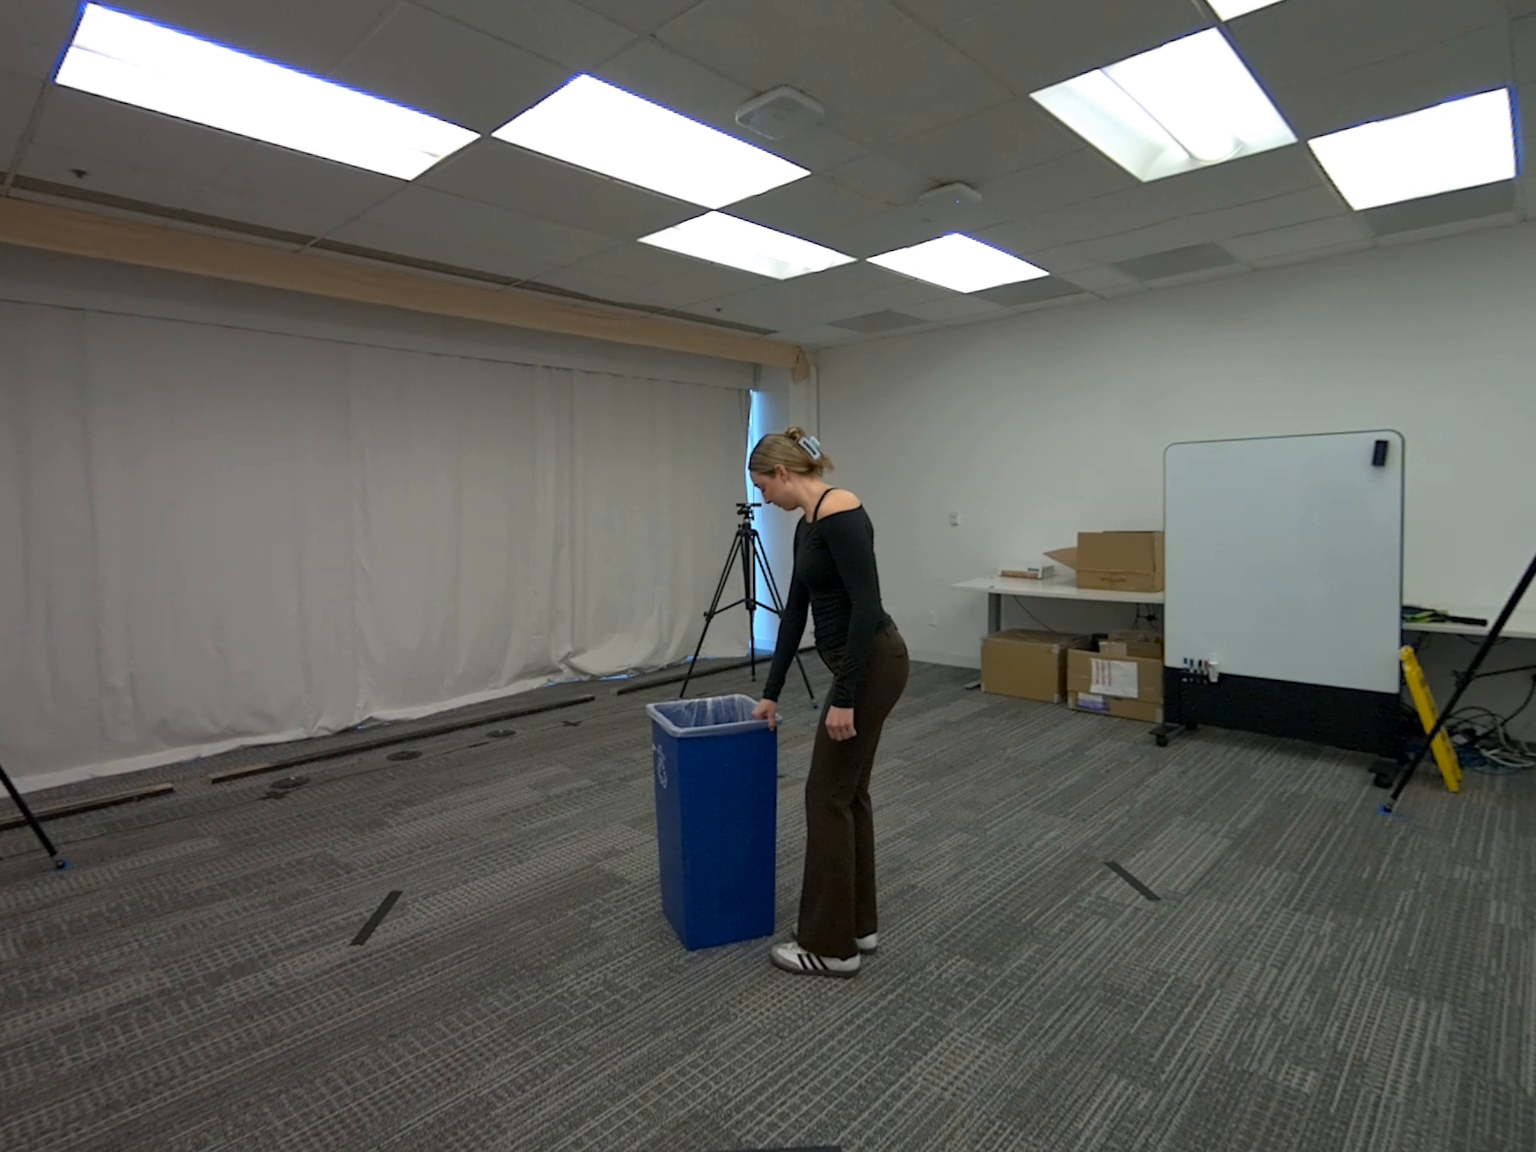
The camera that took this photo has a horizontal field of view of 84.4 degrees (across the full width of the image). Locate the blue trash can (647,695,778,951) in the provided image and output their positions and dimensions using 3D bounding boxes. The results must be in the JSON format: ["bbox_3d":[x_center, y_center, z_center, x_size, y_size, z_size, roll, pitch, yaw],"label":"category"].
[{"bbox_3d":[-0.172,0.797,2.789,0.370,0.712,0.383,-3,3,-22],"label":"blue trash can"}]
